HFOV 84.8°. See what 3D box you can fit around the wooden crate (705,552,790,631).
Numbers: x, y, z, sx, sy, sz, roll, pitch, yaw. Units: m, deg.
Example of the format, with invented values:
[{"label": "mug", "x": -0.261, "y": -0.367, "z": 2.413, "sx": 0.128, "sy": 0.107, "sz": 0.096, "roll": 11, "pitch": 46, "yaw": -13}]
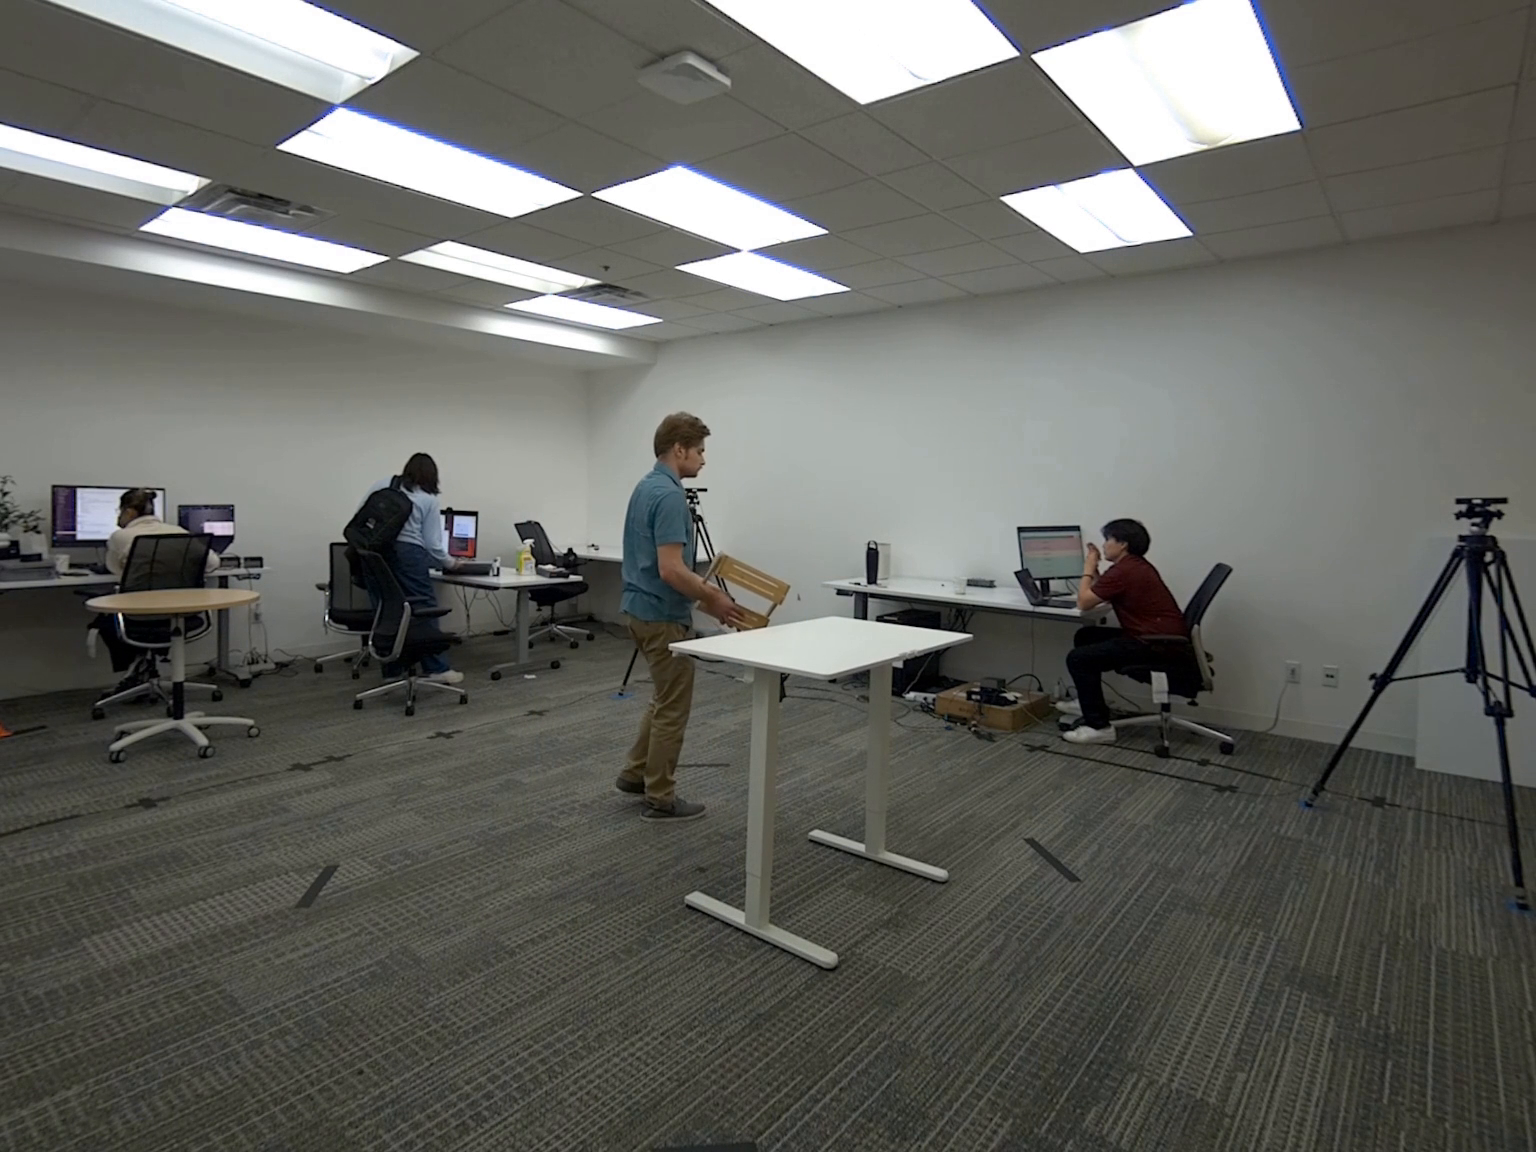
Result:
[{"label": "wooden crate", "x": -0.129, "y": 0.065, "z": 3.629, "sx": 0.320, "sy": 0.273, "sz": 0.306, "roll": 26, "pitch": 3, "yaw": -10}]
